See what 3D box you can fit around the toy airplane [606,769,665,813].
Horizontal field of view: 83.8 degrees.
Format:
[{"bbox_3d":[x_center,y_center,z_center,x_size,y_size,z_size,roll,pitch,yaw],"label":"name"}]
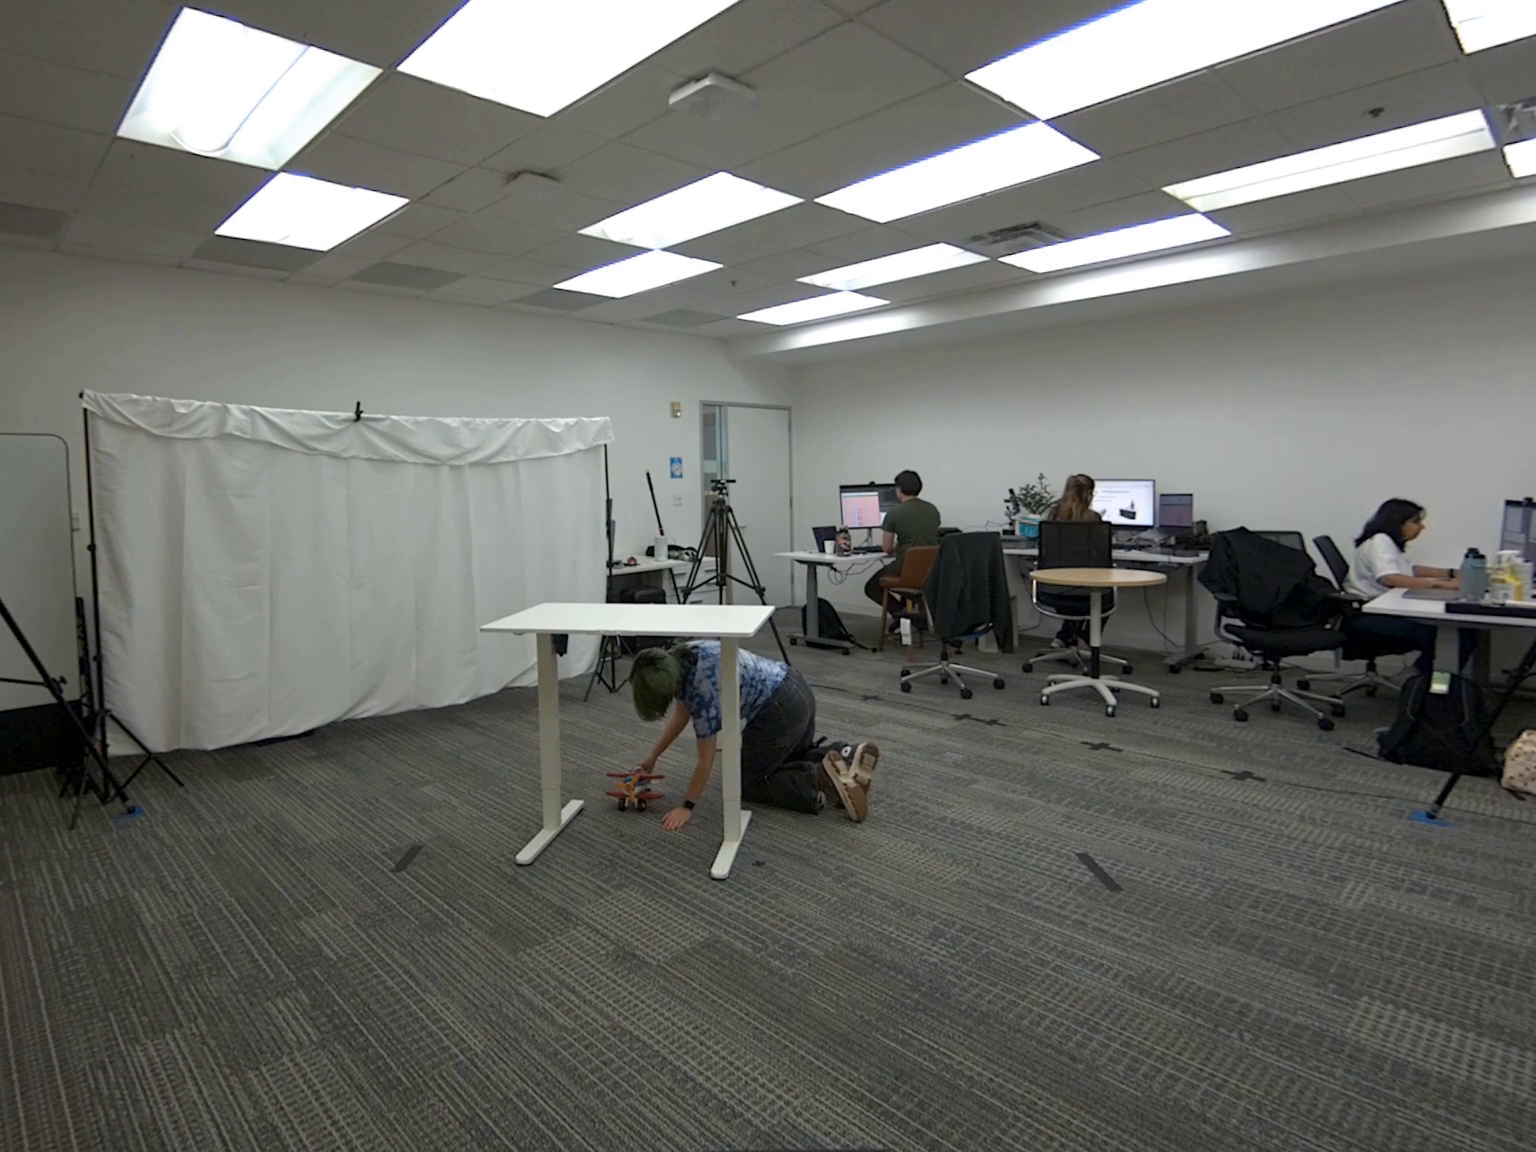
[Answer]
[{"bbox_3d":[-0.586,0.921,3.727,0.247,0.156,0.264,-3,6,-16],"label":"toy airplane"}]
